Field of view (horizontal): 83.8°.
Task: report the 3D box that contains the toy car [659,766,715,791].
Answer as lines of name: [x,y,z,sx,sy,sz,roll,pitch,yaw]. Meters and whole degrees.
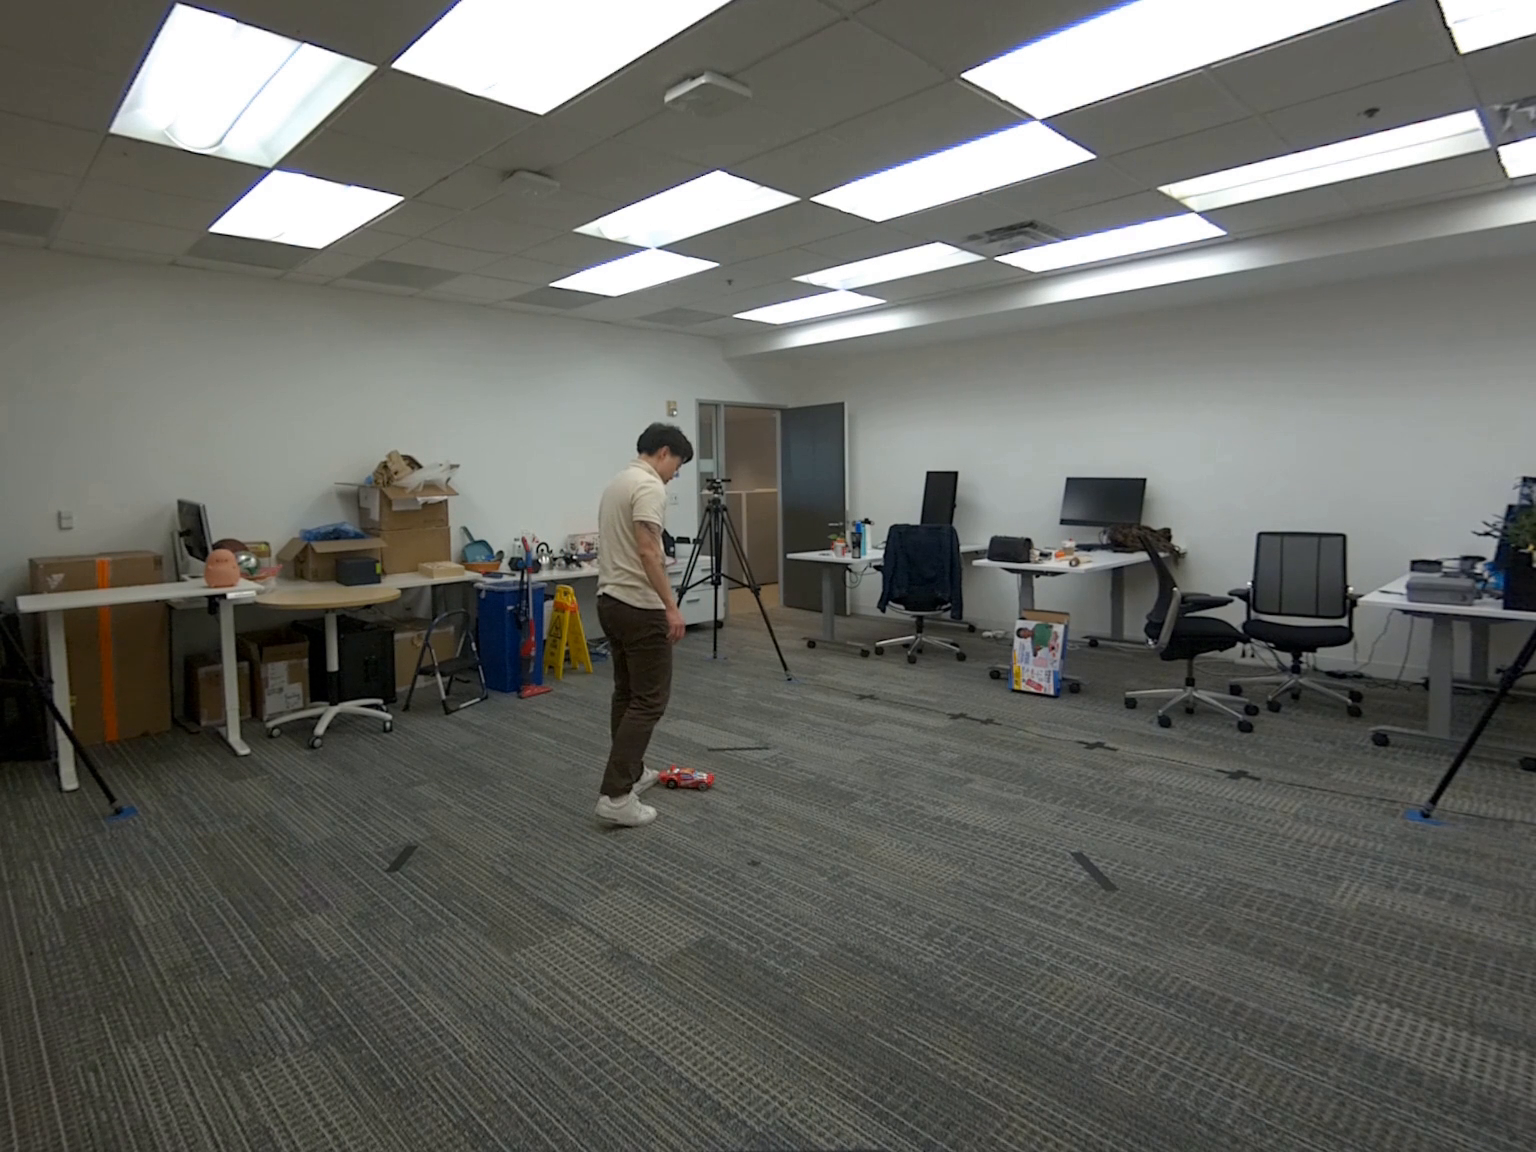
toy car: [-0.378,0.927,3.913,0.258,0.083,0.129,11,8,12]
